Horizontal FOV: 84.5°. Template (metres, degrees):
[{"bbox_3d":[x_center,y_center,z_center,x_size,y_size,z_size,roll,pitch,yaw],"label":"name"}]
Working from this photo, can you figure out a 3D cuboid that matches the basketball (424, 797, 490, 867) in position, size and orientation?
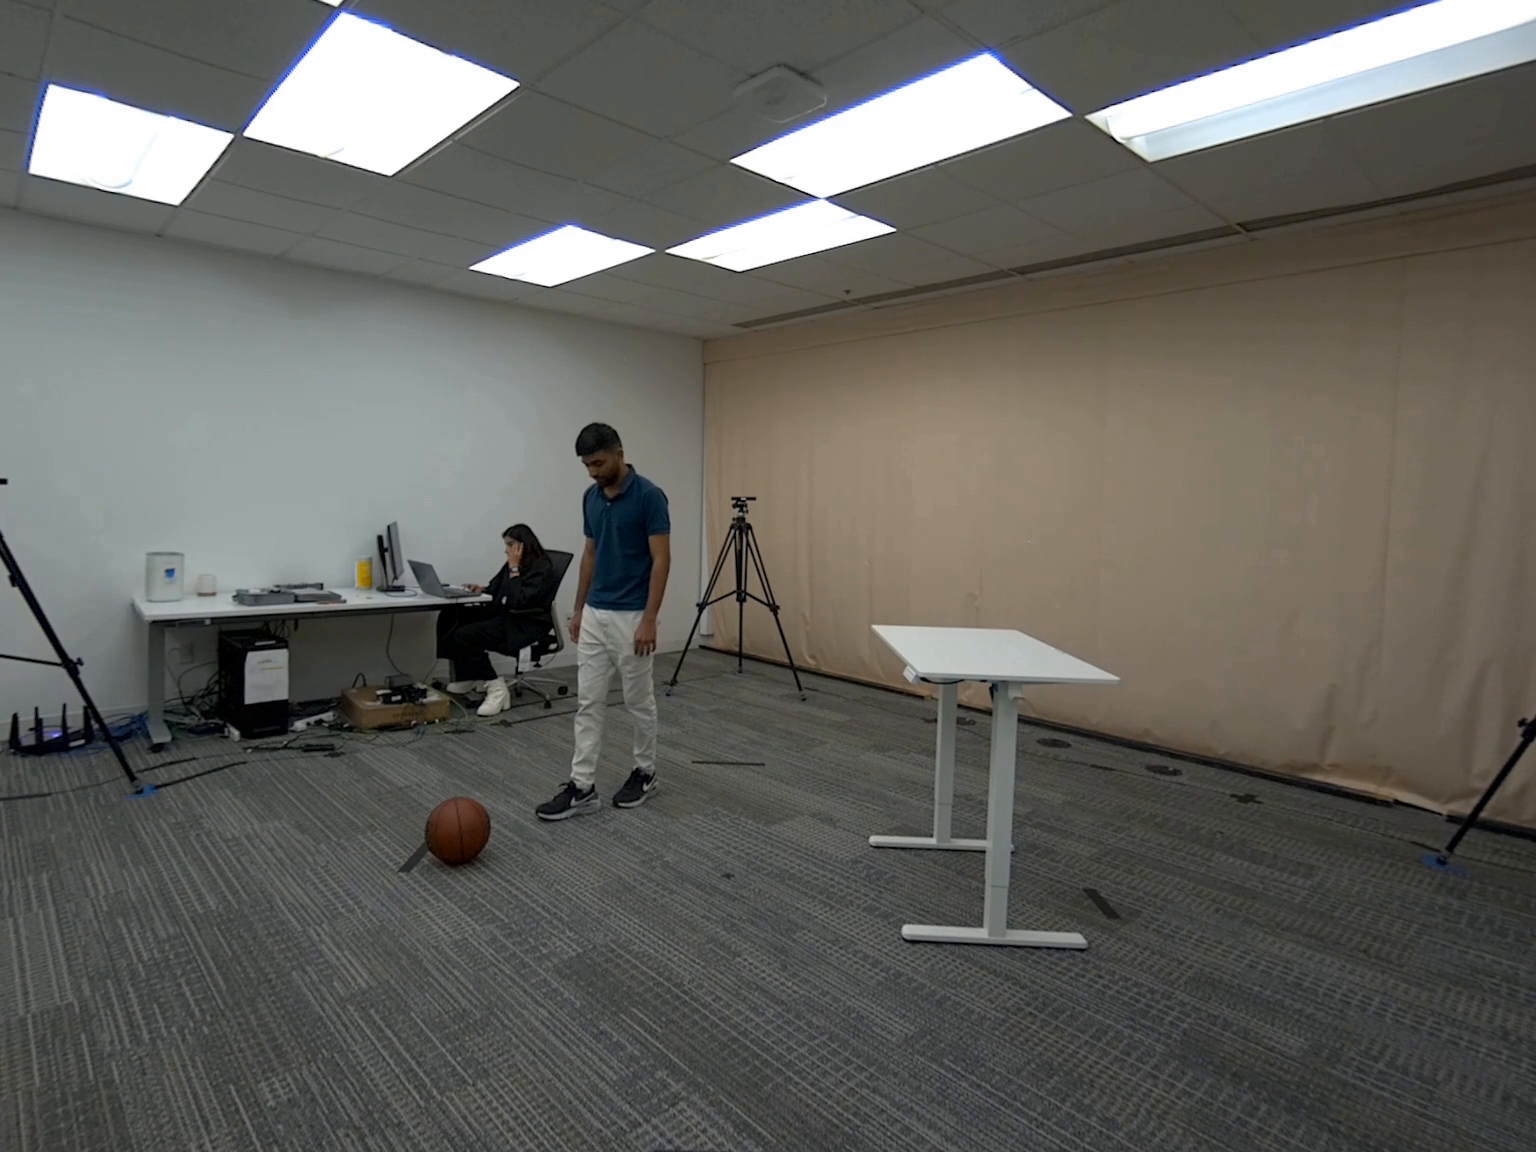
[{"bbox_3d":[-1.180,0.960,3.176,0.236,0.235,0.237,1,4,-1],"label":"basketball"}]
